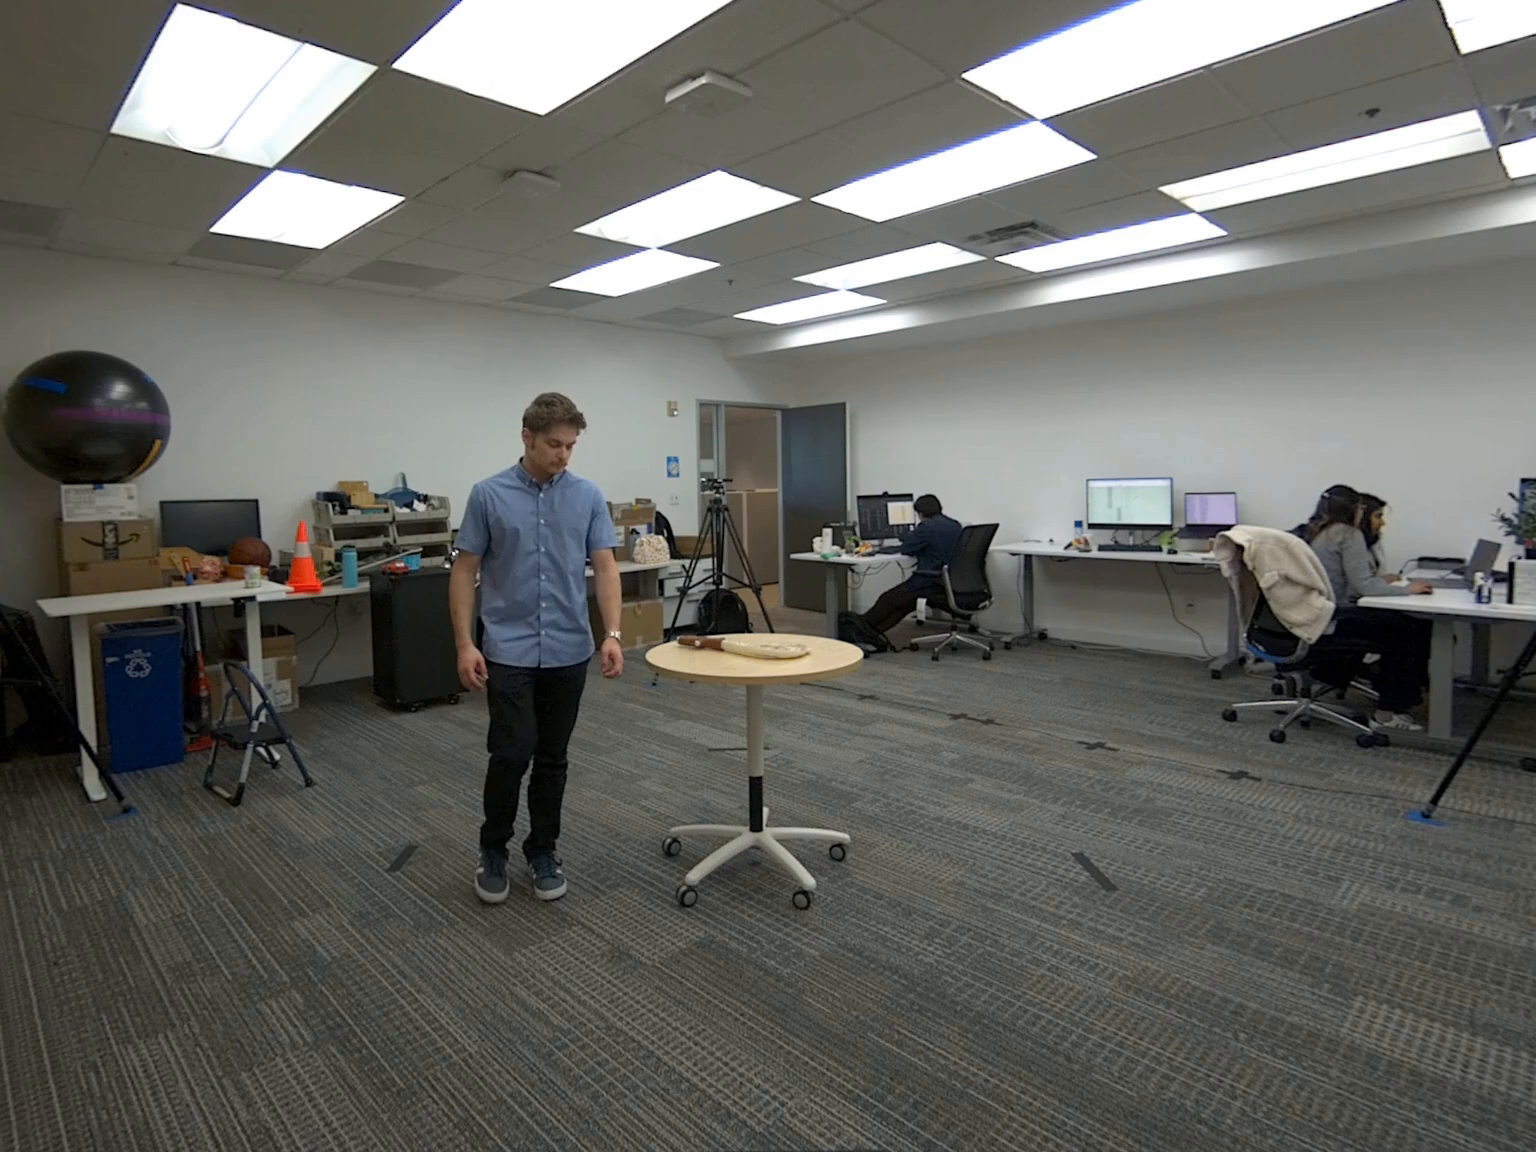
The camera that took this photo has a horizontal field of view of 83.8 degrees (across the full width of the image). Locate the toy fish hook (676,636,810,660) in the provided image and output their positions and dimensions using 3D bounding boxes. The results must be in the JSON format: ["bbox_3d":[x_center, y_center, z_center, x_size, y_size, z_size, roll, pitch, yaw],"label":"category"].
[{"bbox_3d":[-0.091,0.253,3.064,0.521,0.048,0.218,4,0,33],"label":"toy fish hook"}]
